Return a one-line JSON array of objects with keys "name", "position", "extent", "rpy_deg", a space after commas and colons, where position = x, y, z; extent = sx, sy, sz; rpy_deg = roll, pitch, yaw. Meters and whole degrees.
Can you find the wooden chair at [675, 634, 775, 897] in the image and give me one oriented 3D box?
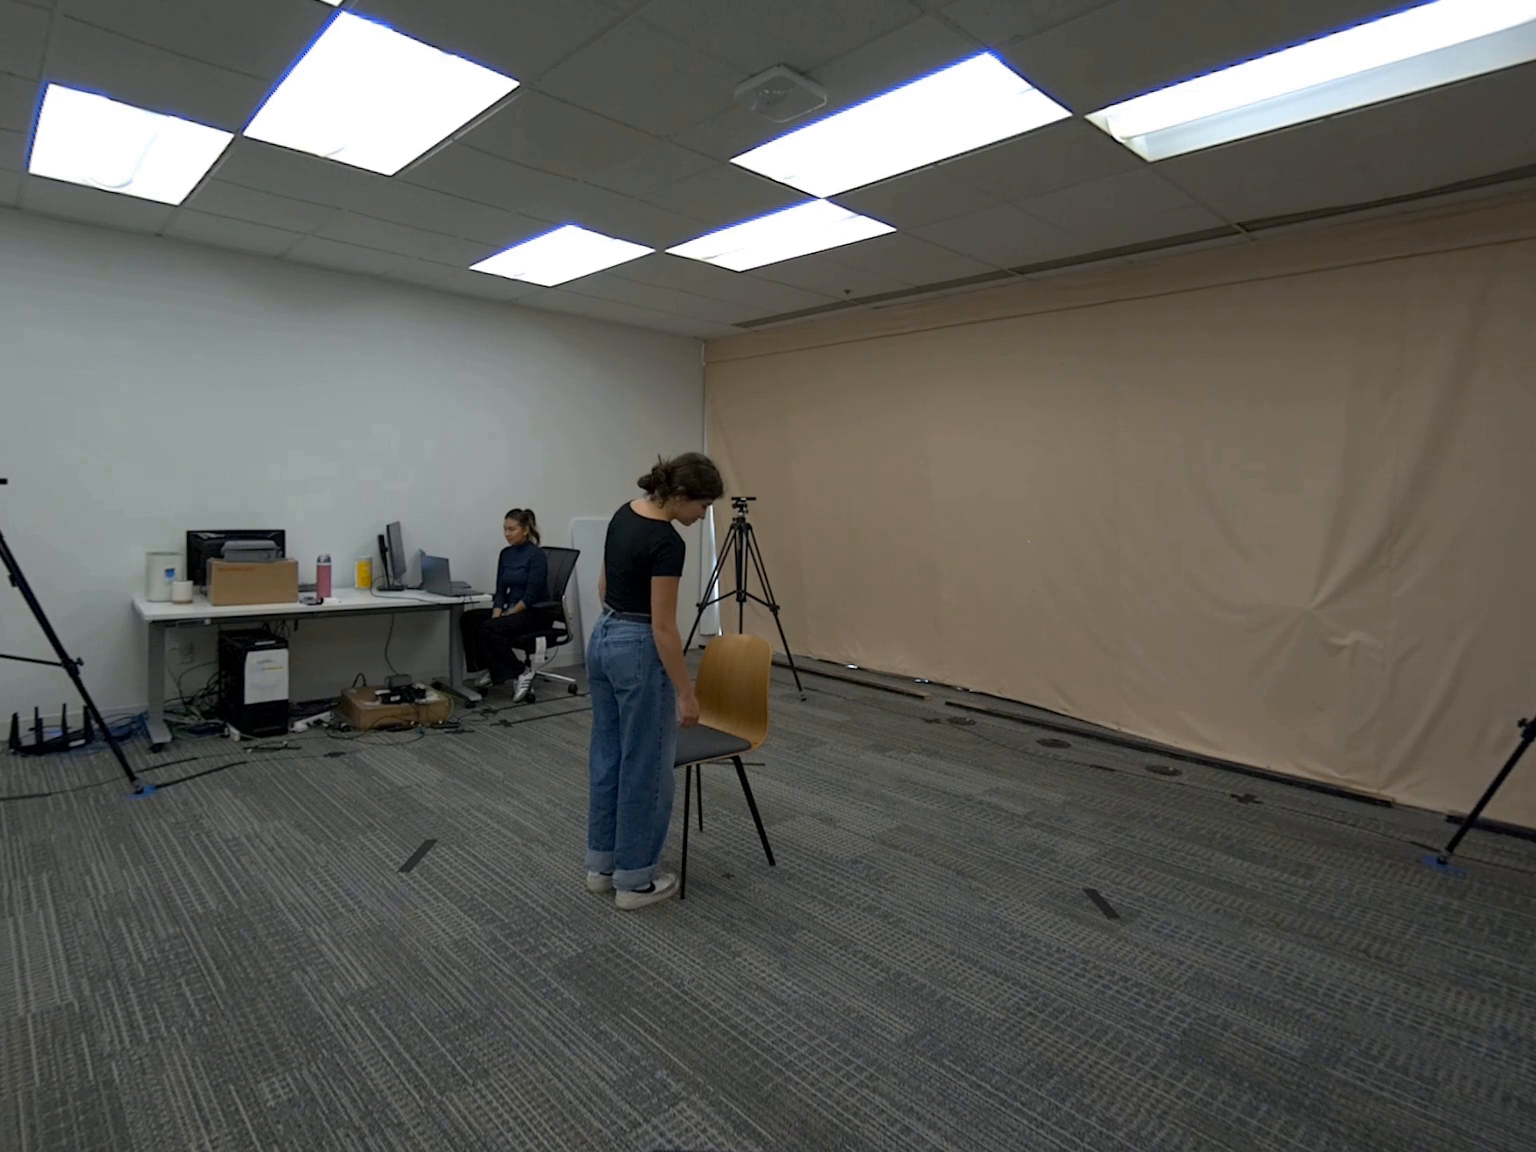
[{"name": "wooden chair", "position": [-0.284, 0.673, 3.192], "extent": [0.510, 0.877, 0.490], "rpy_deg": [3, 1, -43]}]
